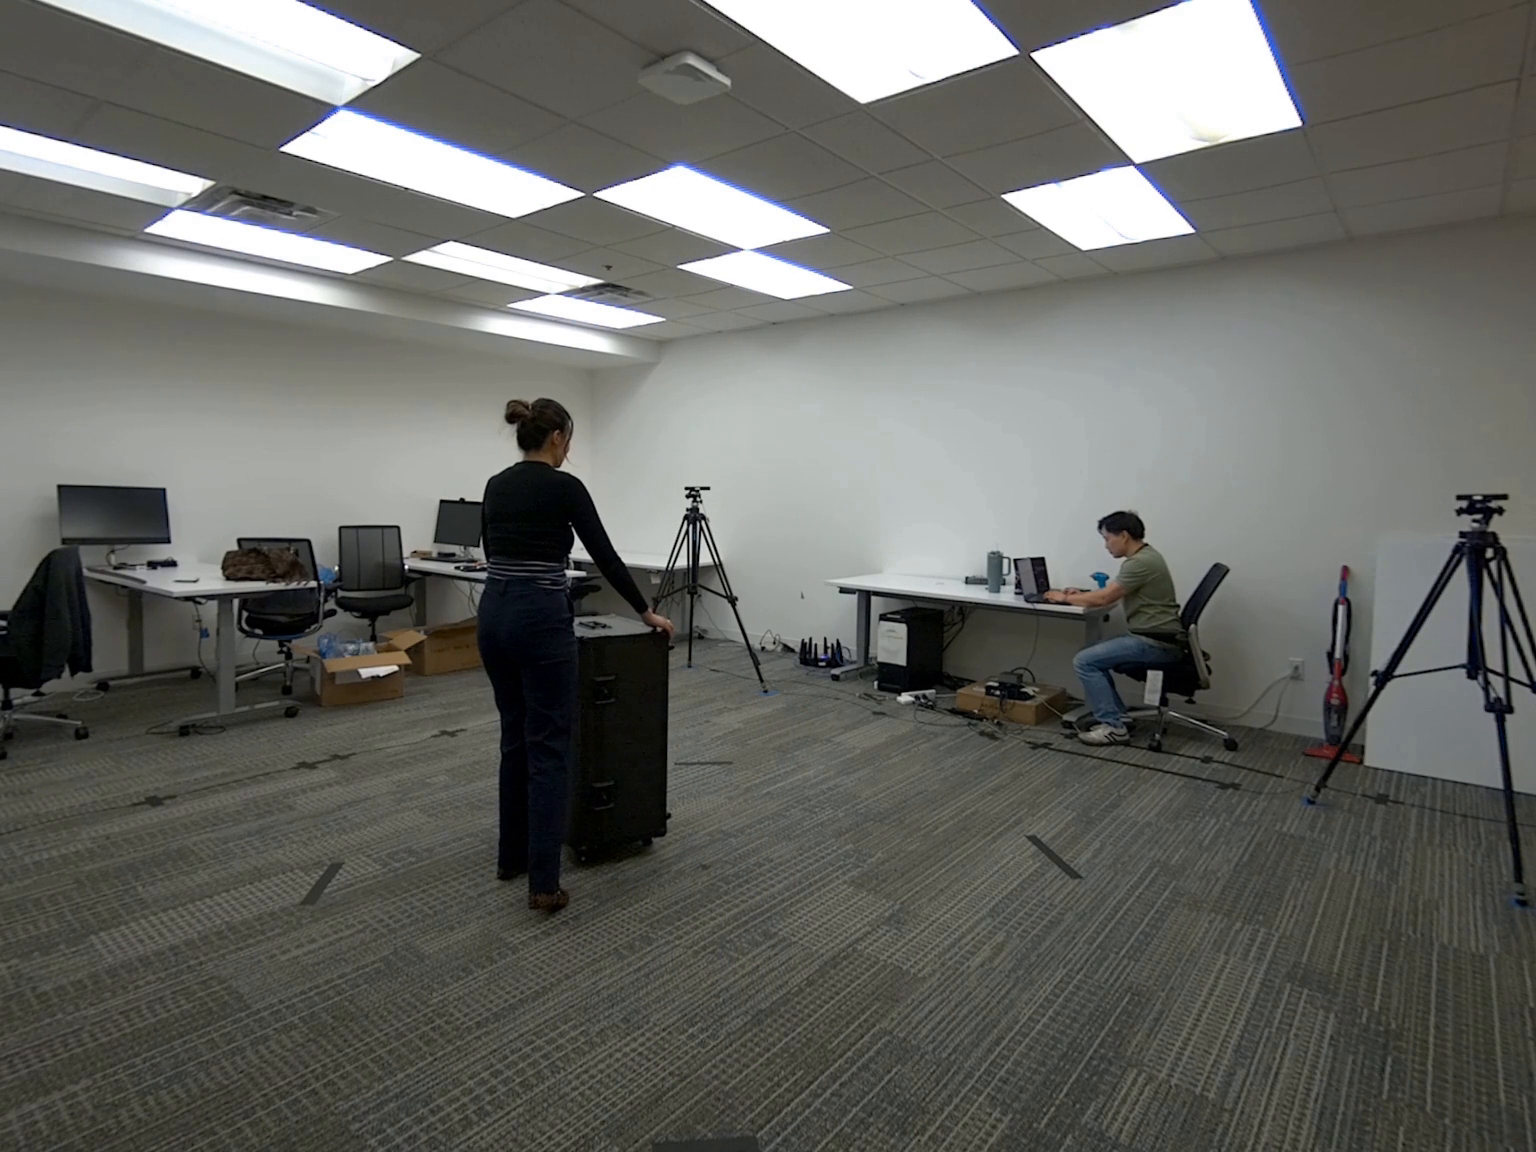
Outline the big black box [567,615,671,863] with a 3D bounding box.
[{"bbox_3d":[-0.663,0.613,3.324,0.385,0.859,0.538,0,3,-34],"label":"big black box"}]
